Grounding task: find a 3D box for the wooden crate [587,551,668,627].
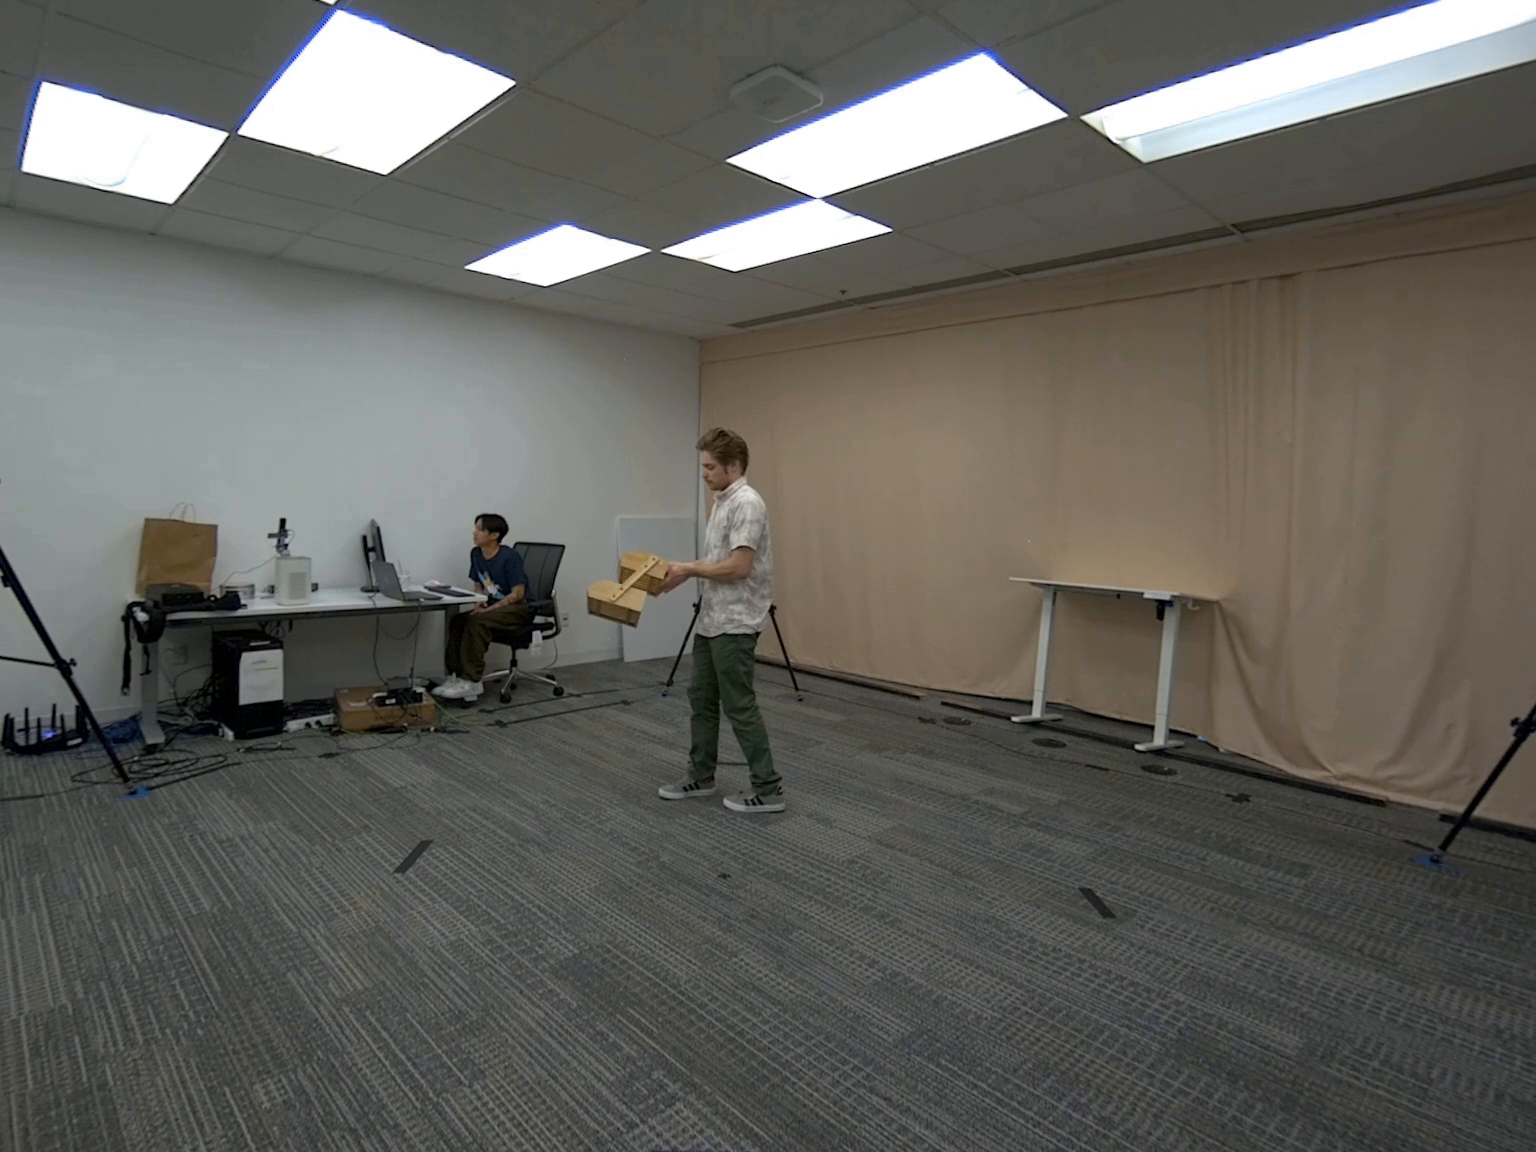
[{"bbox_3d":[-0.634,0.041,3.754,0.300,0.276,0.323,17,-20,-6],"label":"wooden crate"}]
